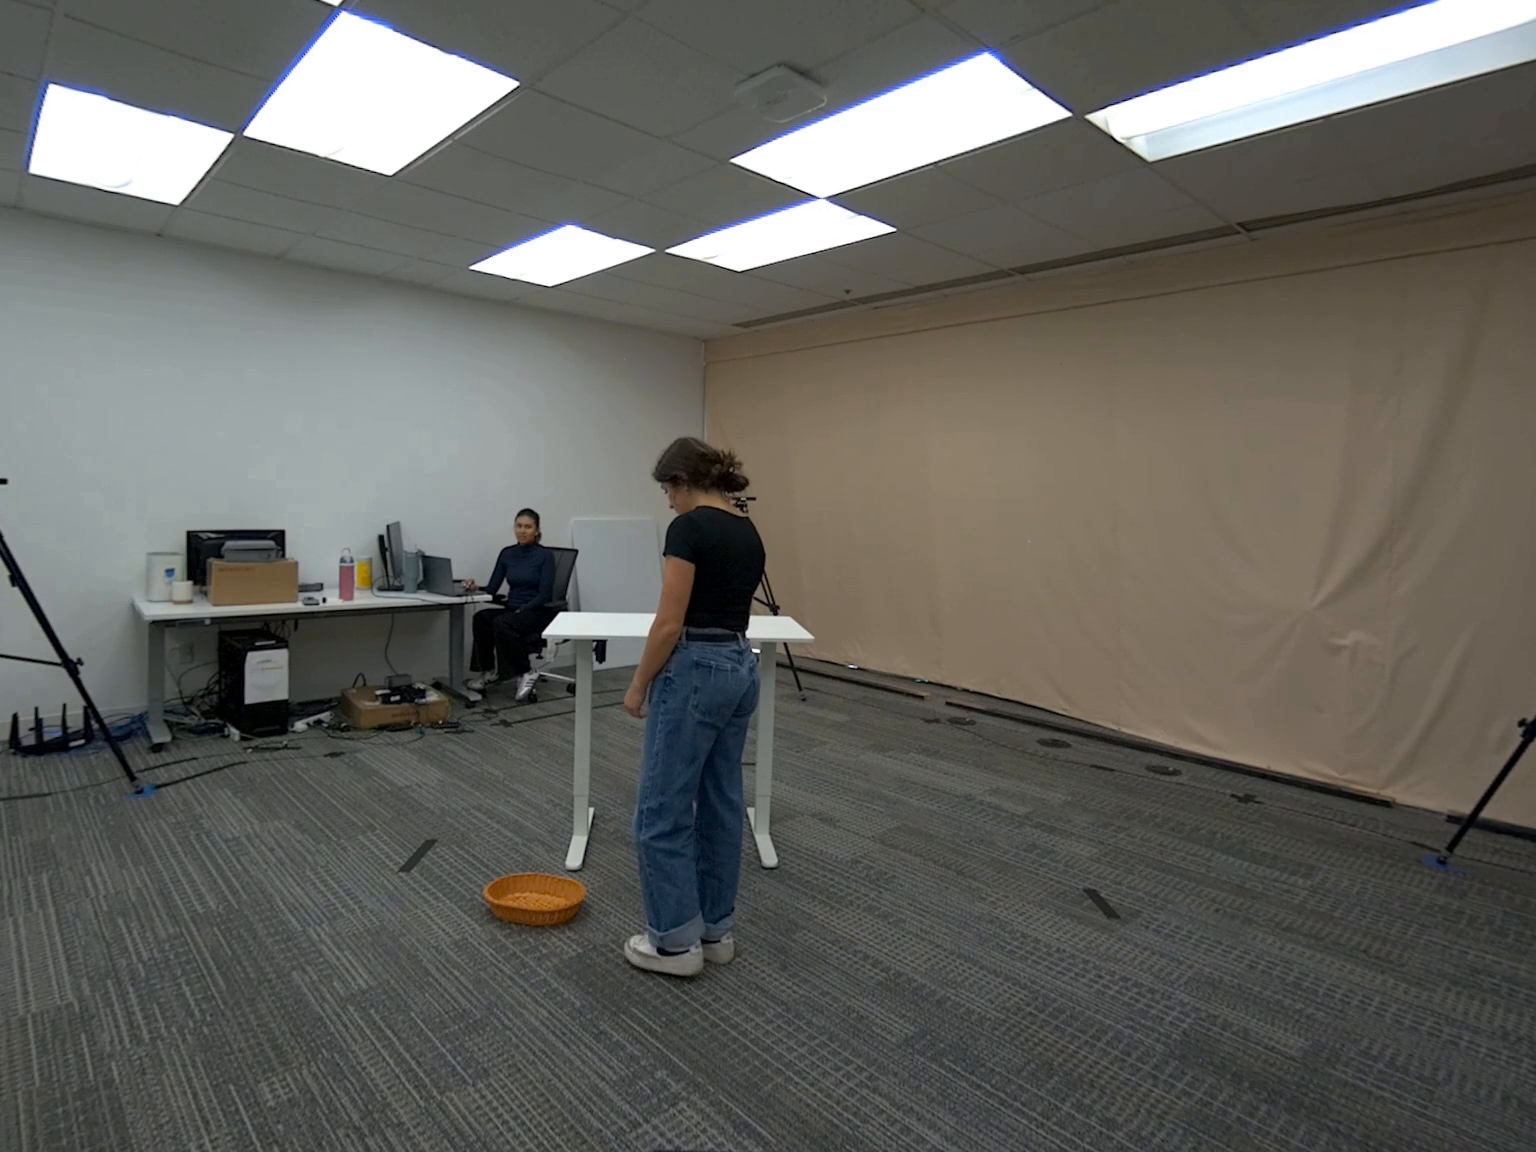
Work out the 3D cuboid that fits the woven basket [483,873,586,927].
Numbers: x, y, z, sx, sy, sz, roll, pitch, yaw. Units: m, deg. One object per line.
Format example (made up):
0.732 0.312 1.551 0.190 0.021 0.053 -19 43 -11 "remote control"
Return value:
-0.782 1.083 2.806 0.356 0.073 0.249 3 4 18 "woven basket"
